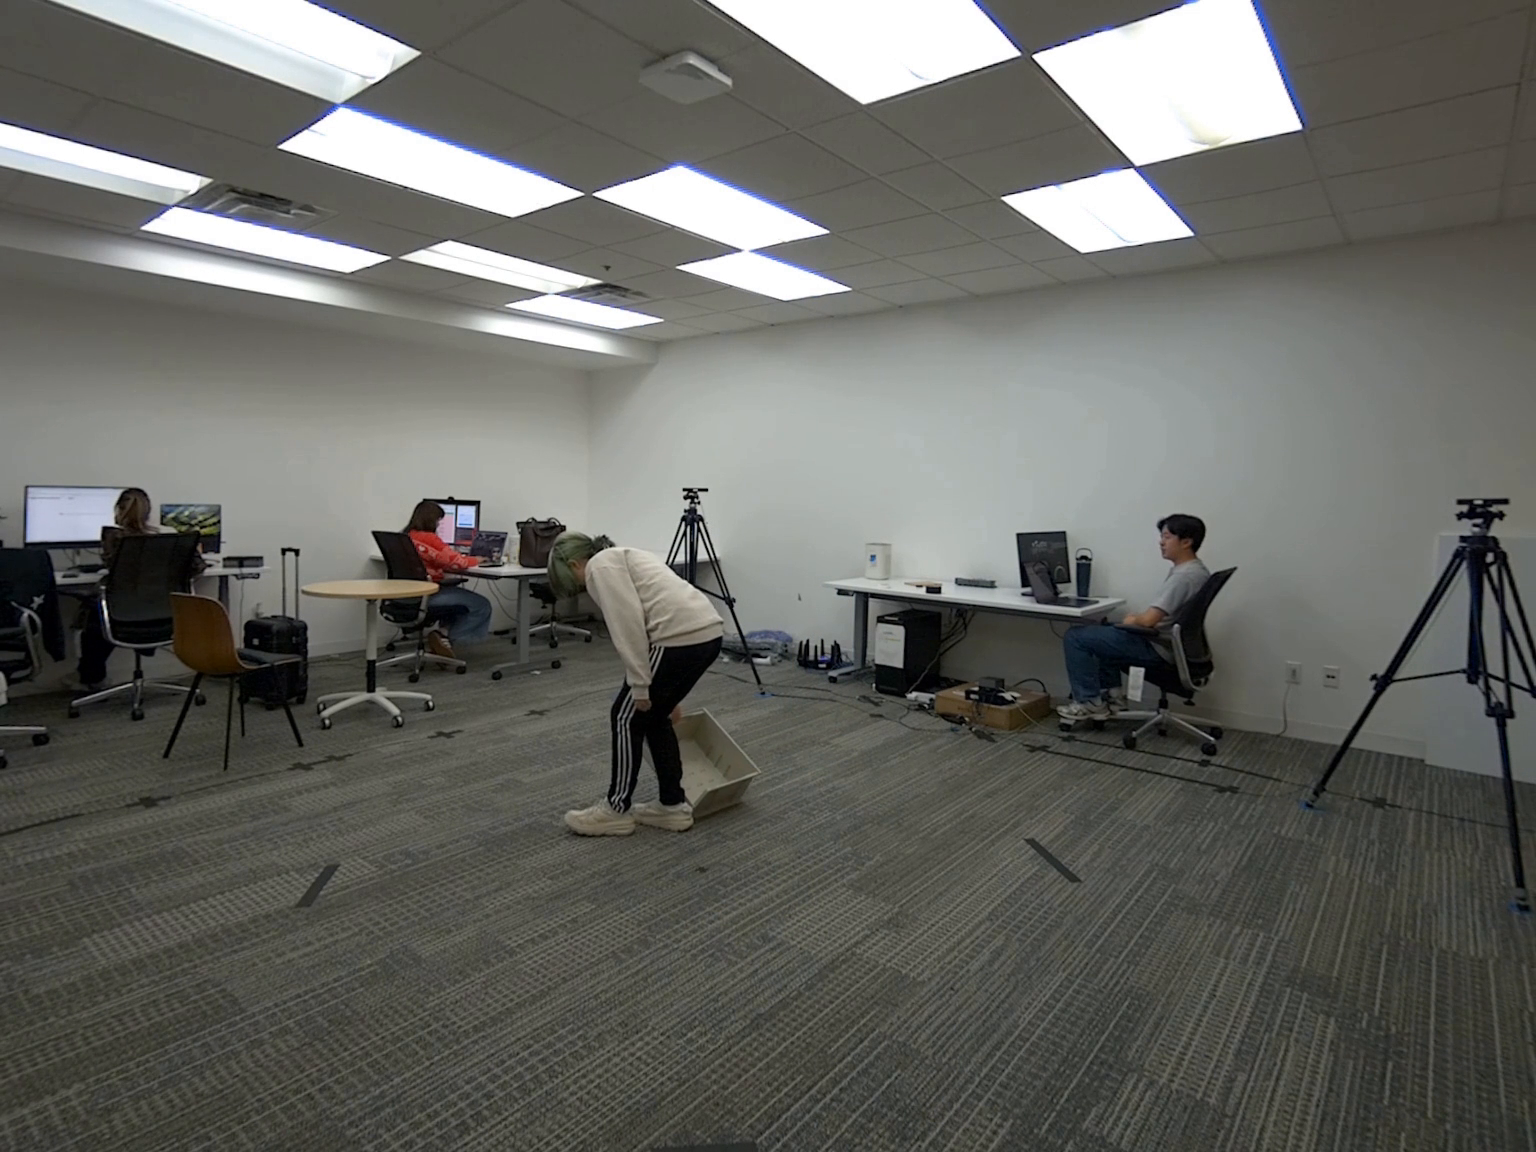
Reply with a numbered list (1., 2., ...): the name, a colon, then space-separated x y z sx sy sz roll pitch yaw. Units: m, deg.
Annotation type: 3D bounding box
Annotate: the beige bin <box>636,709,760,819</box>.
1. beige bin: -0.333 0.823 3.752 0.366 0.187 0.439 -2 36 -48
